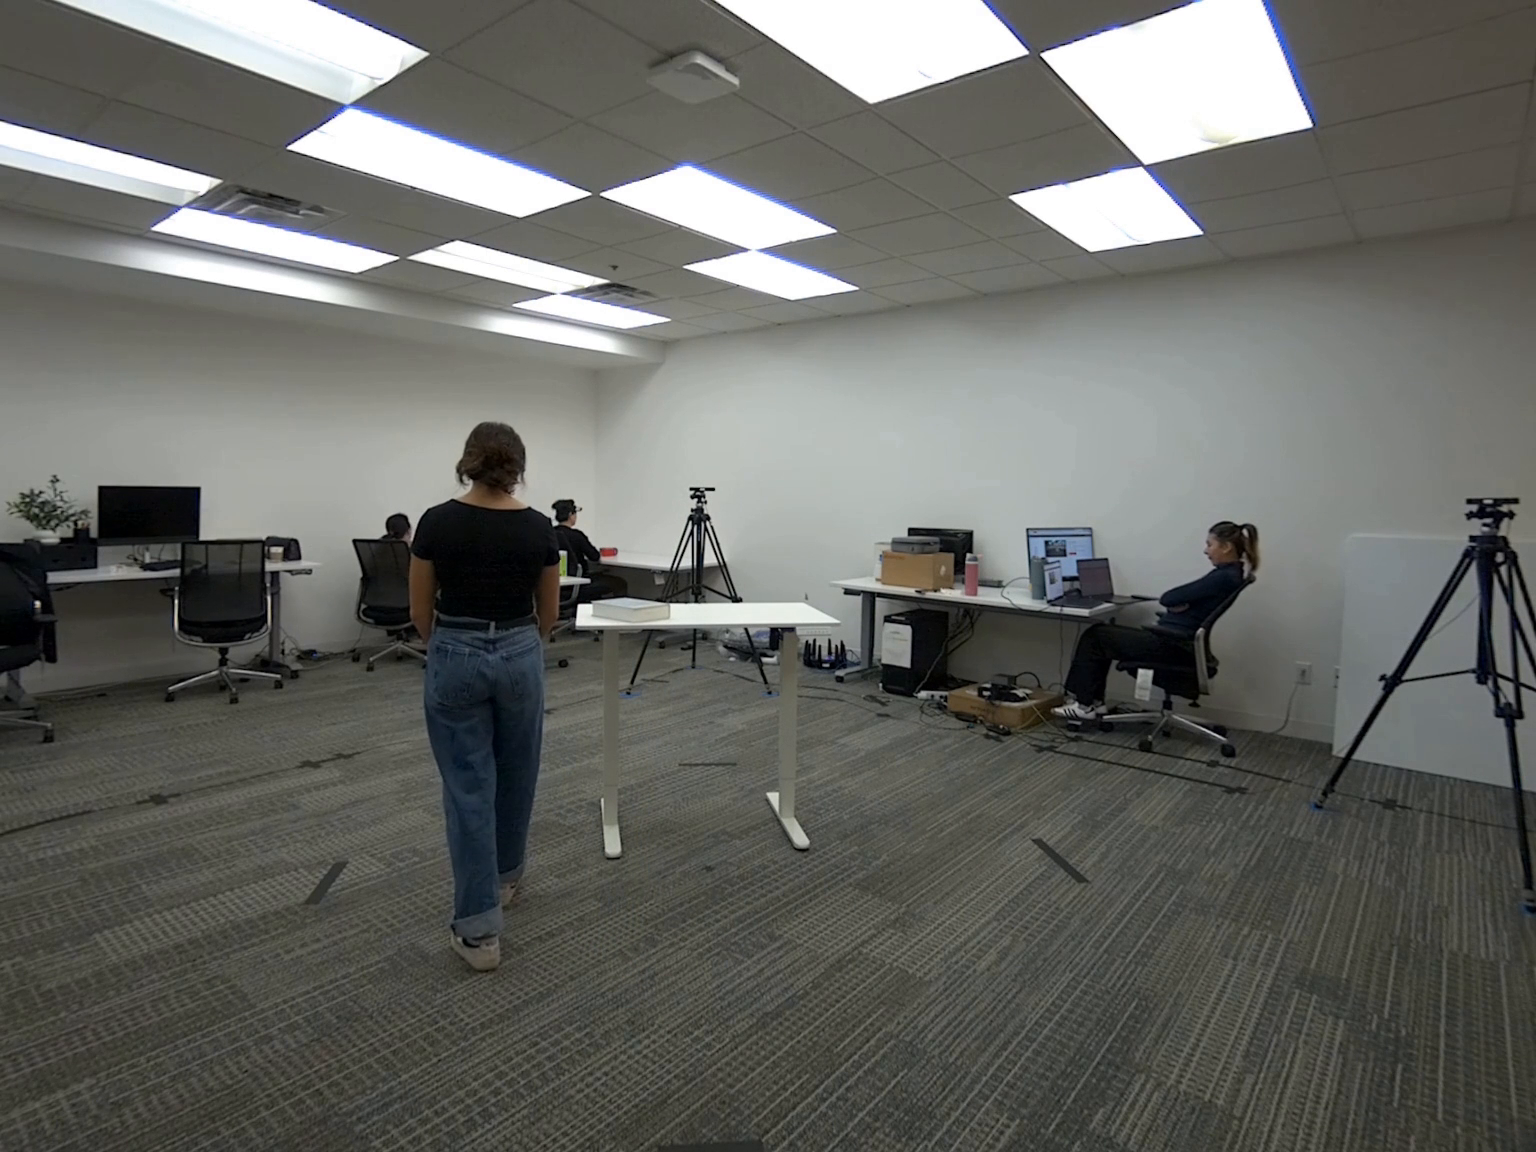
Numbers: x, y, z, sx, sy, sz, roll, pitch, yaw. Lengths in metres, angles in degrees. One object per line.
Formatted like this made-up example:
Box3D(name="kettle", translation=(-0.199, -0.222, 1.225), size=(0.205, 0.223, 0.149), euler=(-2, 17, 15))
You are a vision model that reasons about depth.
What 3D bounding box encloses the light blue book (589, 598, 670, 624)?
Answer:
Box3D(name="light blue book", translation=(-0.555, 0.129, 3.331), size=(0.270, 0.059, 0.186), euler=(5, 7, 41))
